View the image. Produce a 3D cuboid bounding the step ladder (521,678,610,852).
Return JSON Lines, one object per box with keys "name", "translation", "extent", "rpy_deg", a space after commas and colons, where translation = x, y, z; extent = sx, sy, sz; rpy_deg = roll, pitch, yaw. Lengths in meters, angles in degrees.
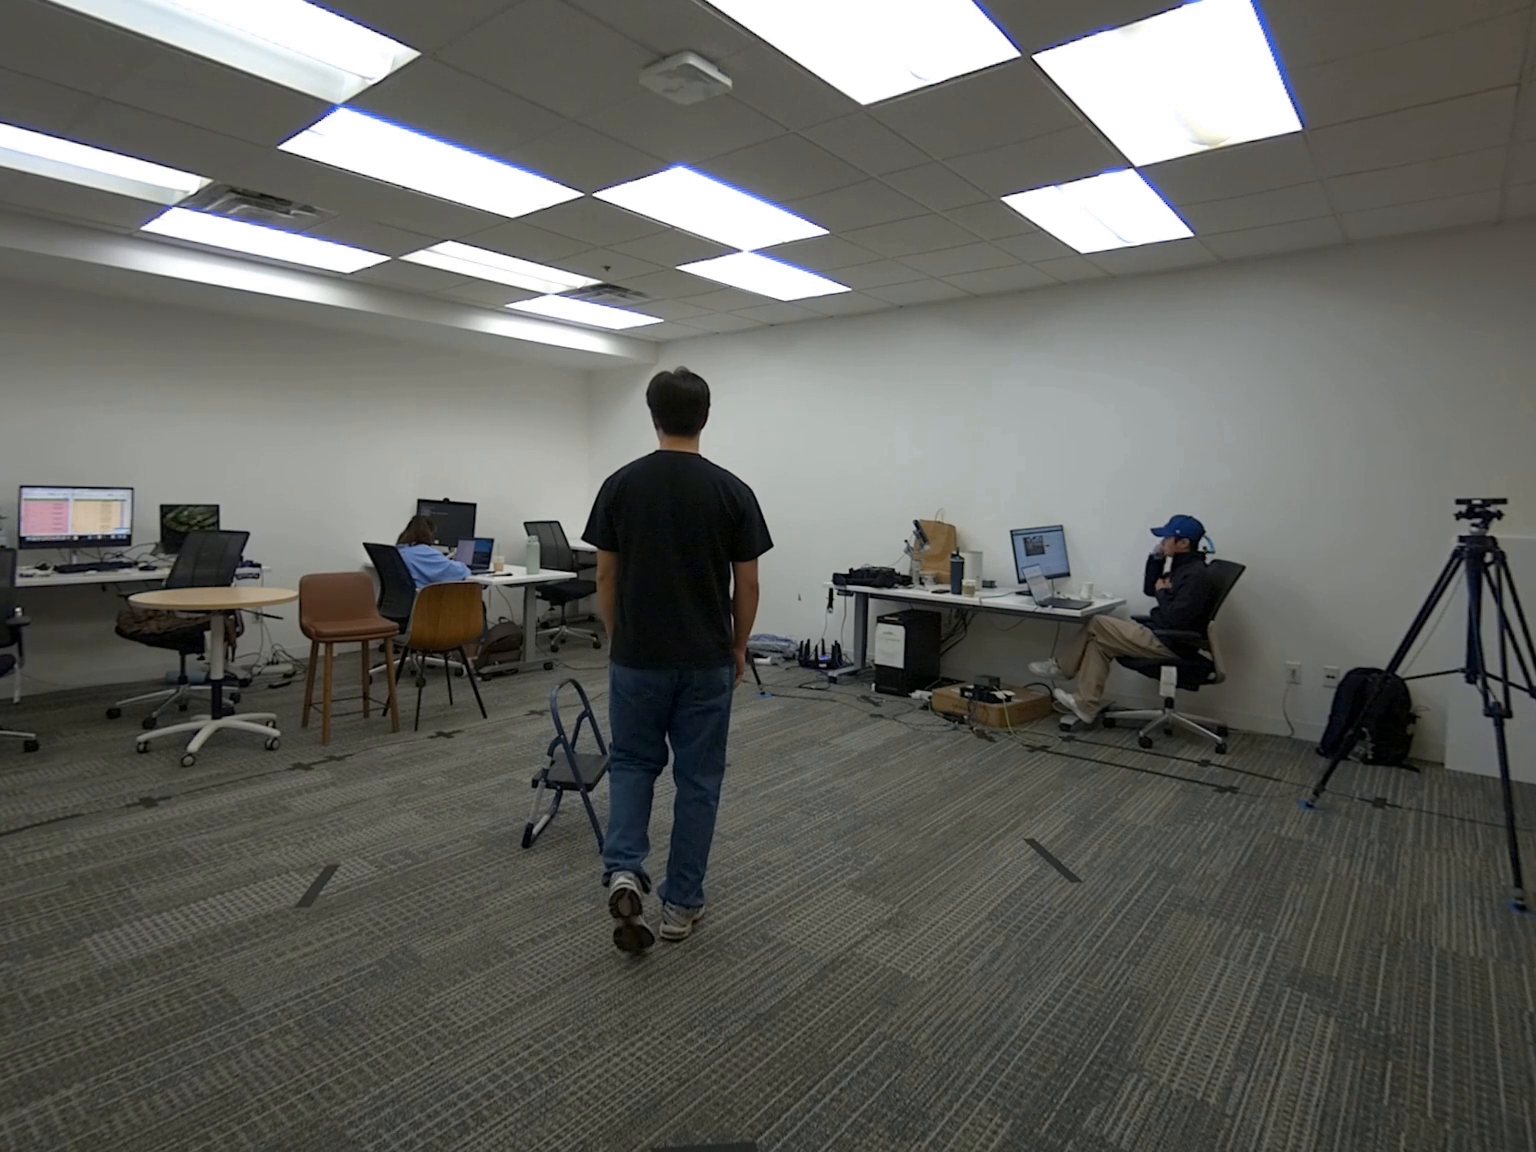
{"name": "step ladder", "translation": [-0.774, 0.728, 3.435], "extent": [0.351, 0.605, 0.430], "rpy_deg": [1, 3, 2]}
